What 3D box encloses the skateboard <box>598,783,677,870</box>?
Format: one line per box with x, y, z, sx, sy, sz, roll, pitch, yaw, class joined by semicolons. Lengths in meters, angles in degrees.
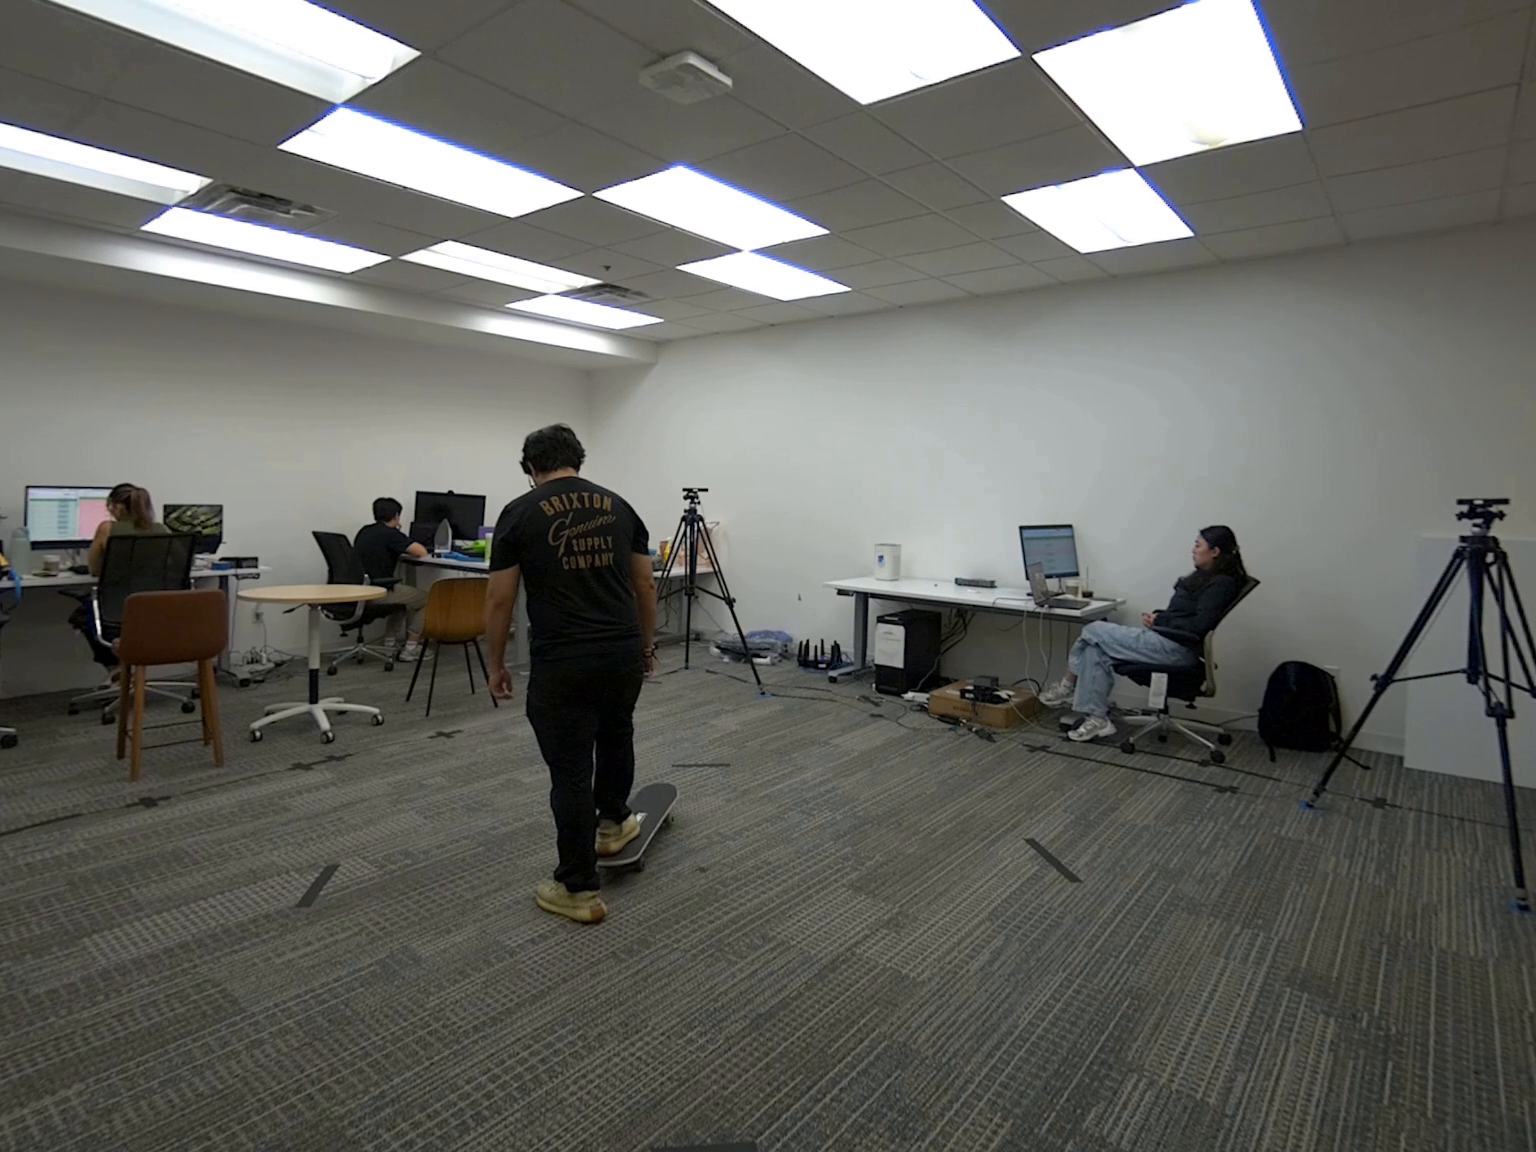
-0.526;0.989;3.304;0.195;0.110;0.782;-2;6;8;skateboard
